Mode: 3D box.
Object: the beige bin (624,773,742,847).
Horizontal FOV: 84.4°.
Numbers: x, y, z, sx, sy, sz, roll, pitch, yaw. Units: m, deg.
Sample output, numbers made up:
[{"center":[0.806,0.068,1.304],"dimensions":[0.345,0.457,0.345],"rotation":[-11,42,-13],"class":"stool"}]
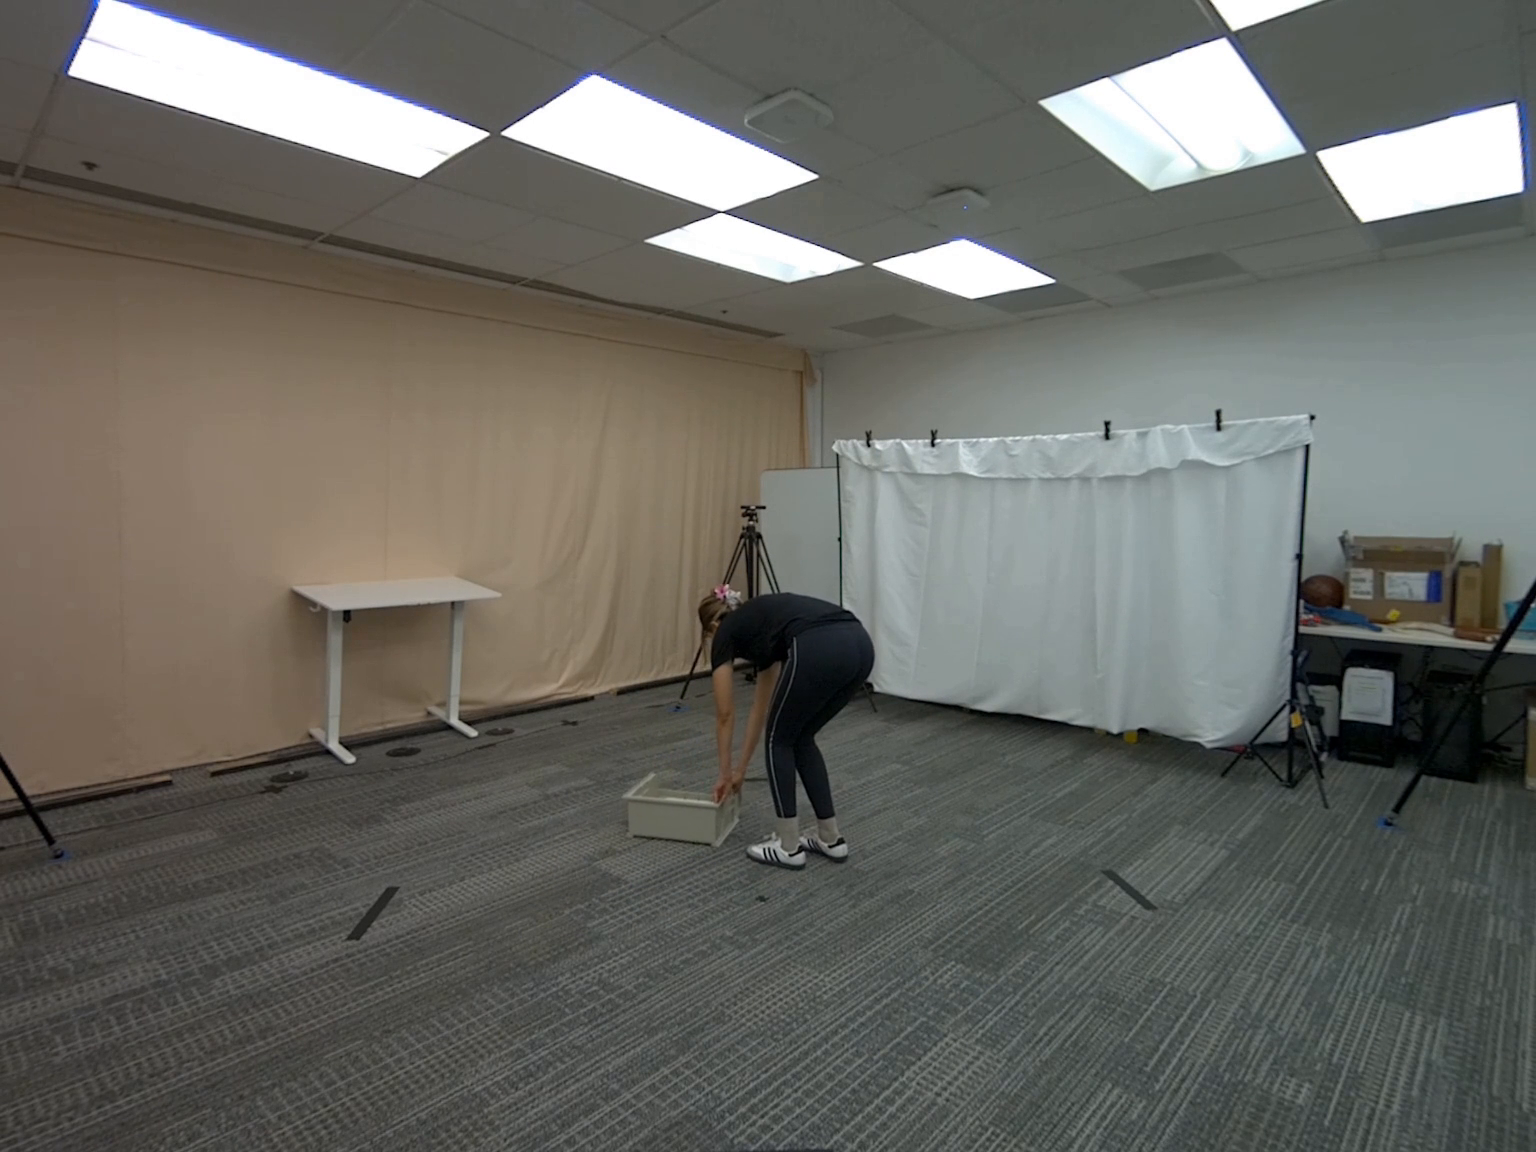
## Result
[{"center":[-0.360,0.998,3.660],"dimensions":[0.430,0.188,0.372],"rotation":[1,6,16],"class":"beige bin"}]
